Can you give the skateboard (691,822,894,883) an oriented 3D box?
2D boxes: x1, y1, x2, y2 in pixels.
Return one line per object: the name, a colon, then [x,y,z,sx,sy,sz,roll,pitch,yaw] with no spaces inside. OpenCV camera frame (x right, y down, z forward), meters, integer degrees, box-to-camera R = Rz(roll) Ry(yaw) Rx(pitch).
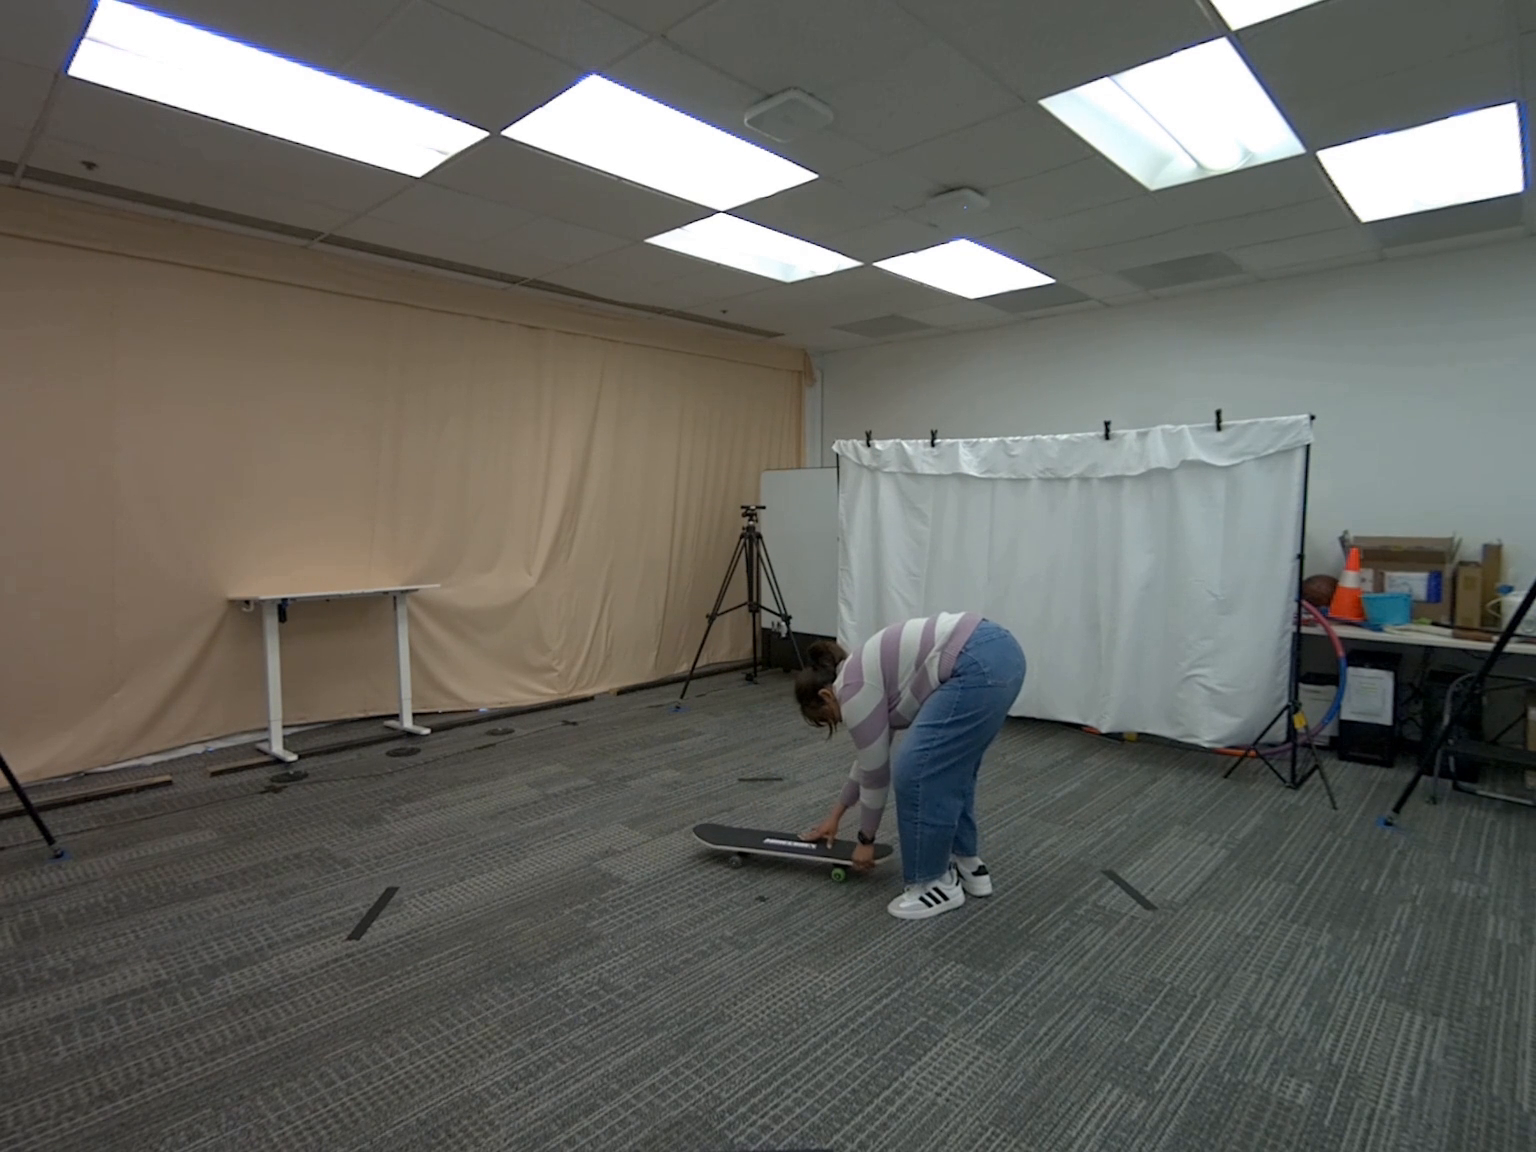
skateboard: [0.092,1.066,3.246,0.799,0.110,0.190,1,5,17]
